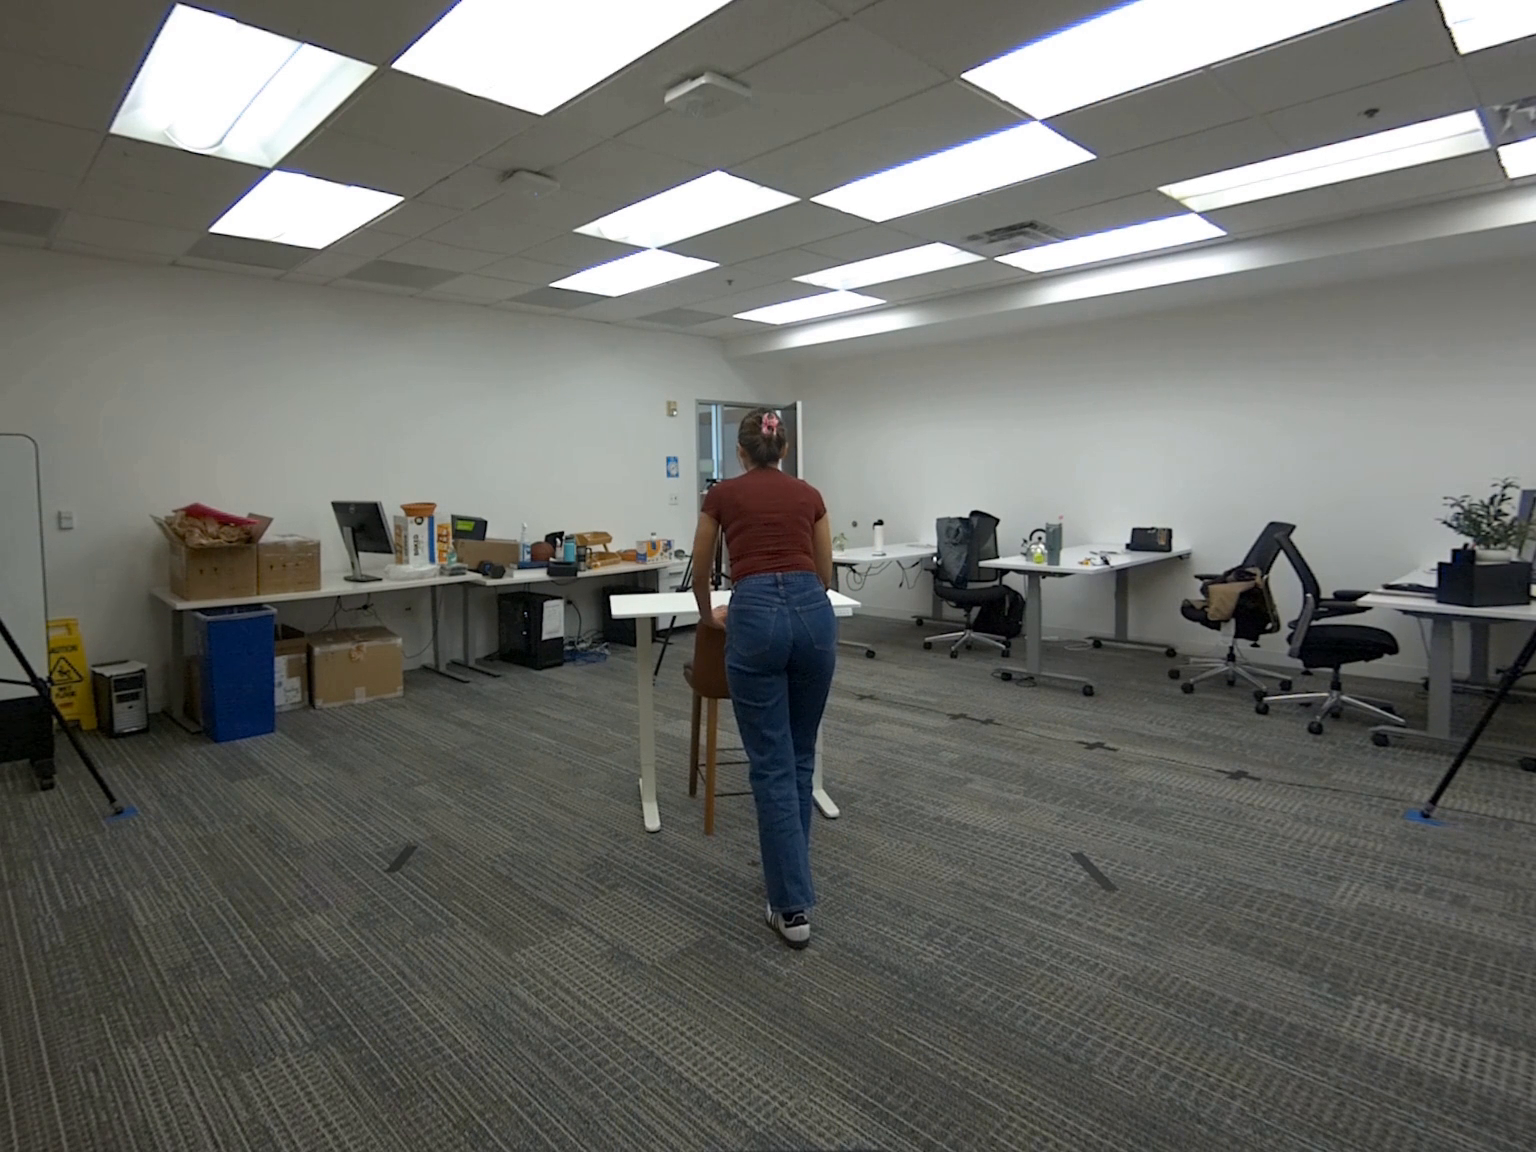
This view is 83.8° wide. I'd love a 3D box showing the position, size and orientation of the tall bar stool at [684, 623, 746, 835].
[{"bbox_3d":[-0.105,0.565,3.569,0.453,0.885,0.474,0,6,-9],"label":"tall bar stool"}]
